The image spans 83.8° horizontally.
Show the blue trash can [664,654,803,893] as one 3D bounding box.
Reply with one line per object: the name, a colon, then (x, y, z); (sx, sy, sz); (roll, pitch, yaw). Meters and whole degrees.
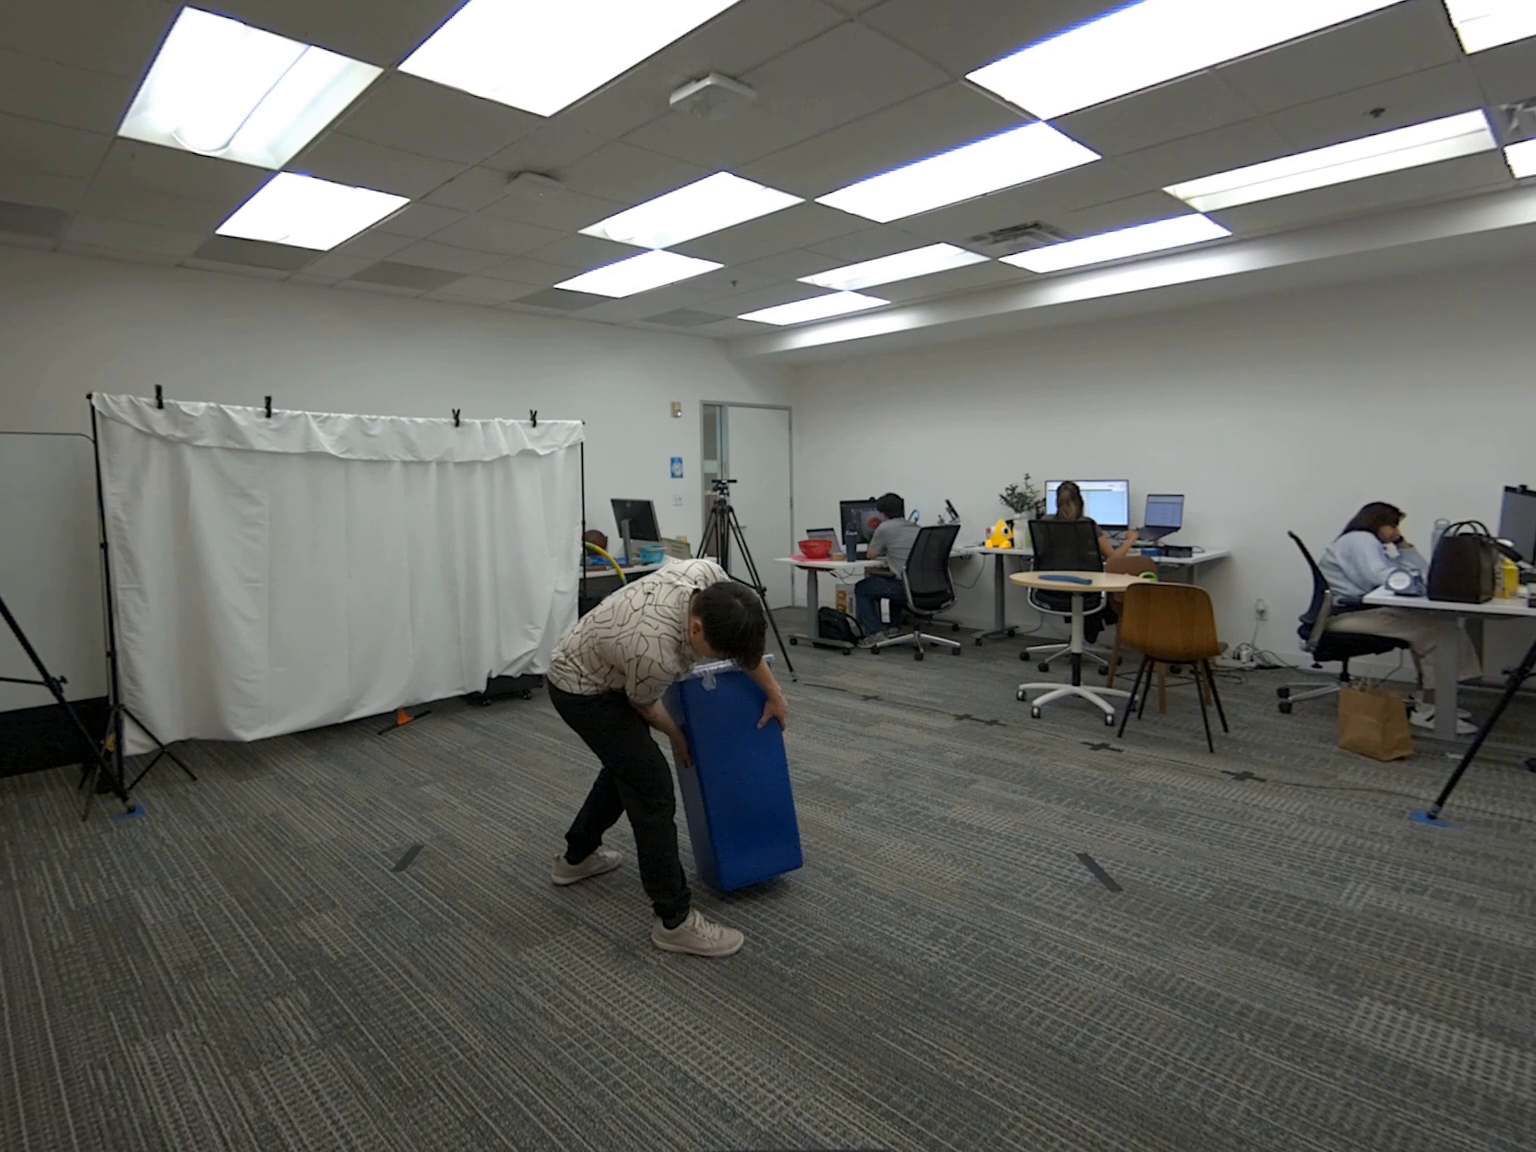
blue trash can: (-0.122, 0.672, 3.005); (0.368, 0.719, 0.382); (-9, -6, -21)
